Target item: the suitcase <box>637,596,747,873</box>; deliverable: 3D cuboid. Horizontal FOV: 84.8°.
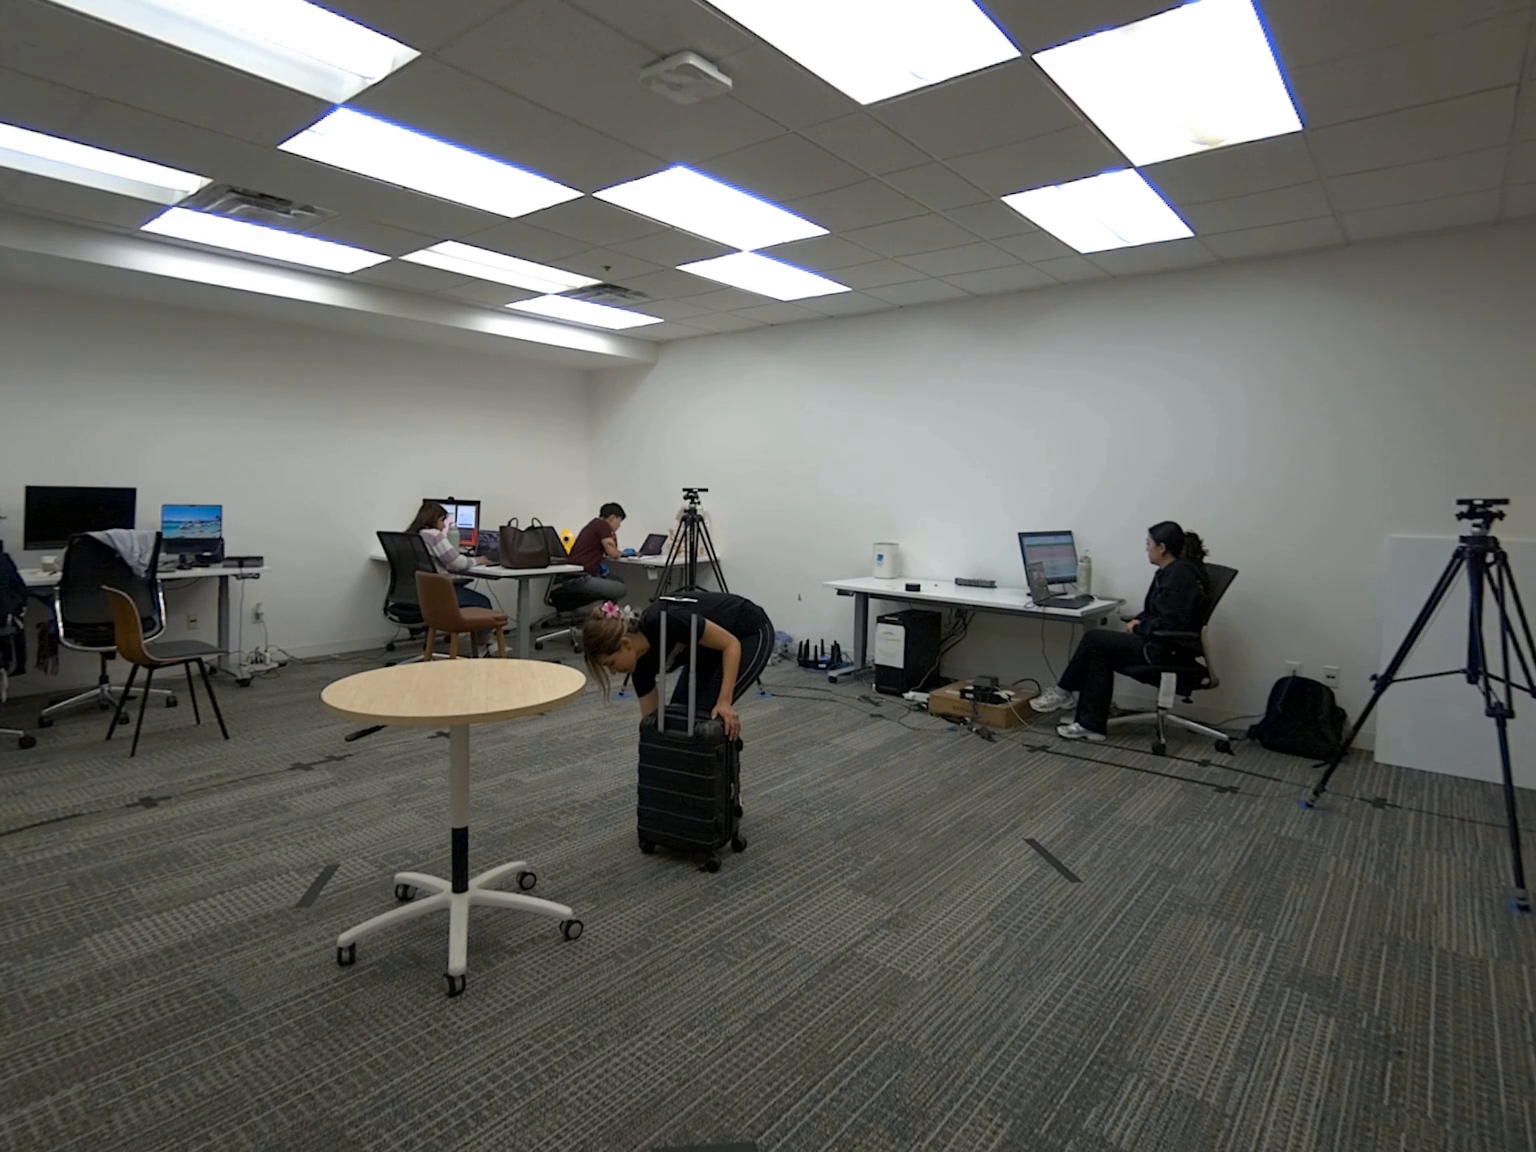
[{"bbox_3d":[-0.309,0.570,3.252,0.394,0.977,0.251,2,2,27],"label":"suitcase"}]
